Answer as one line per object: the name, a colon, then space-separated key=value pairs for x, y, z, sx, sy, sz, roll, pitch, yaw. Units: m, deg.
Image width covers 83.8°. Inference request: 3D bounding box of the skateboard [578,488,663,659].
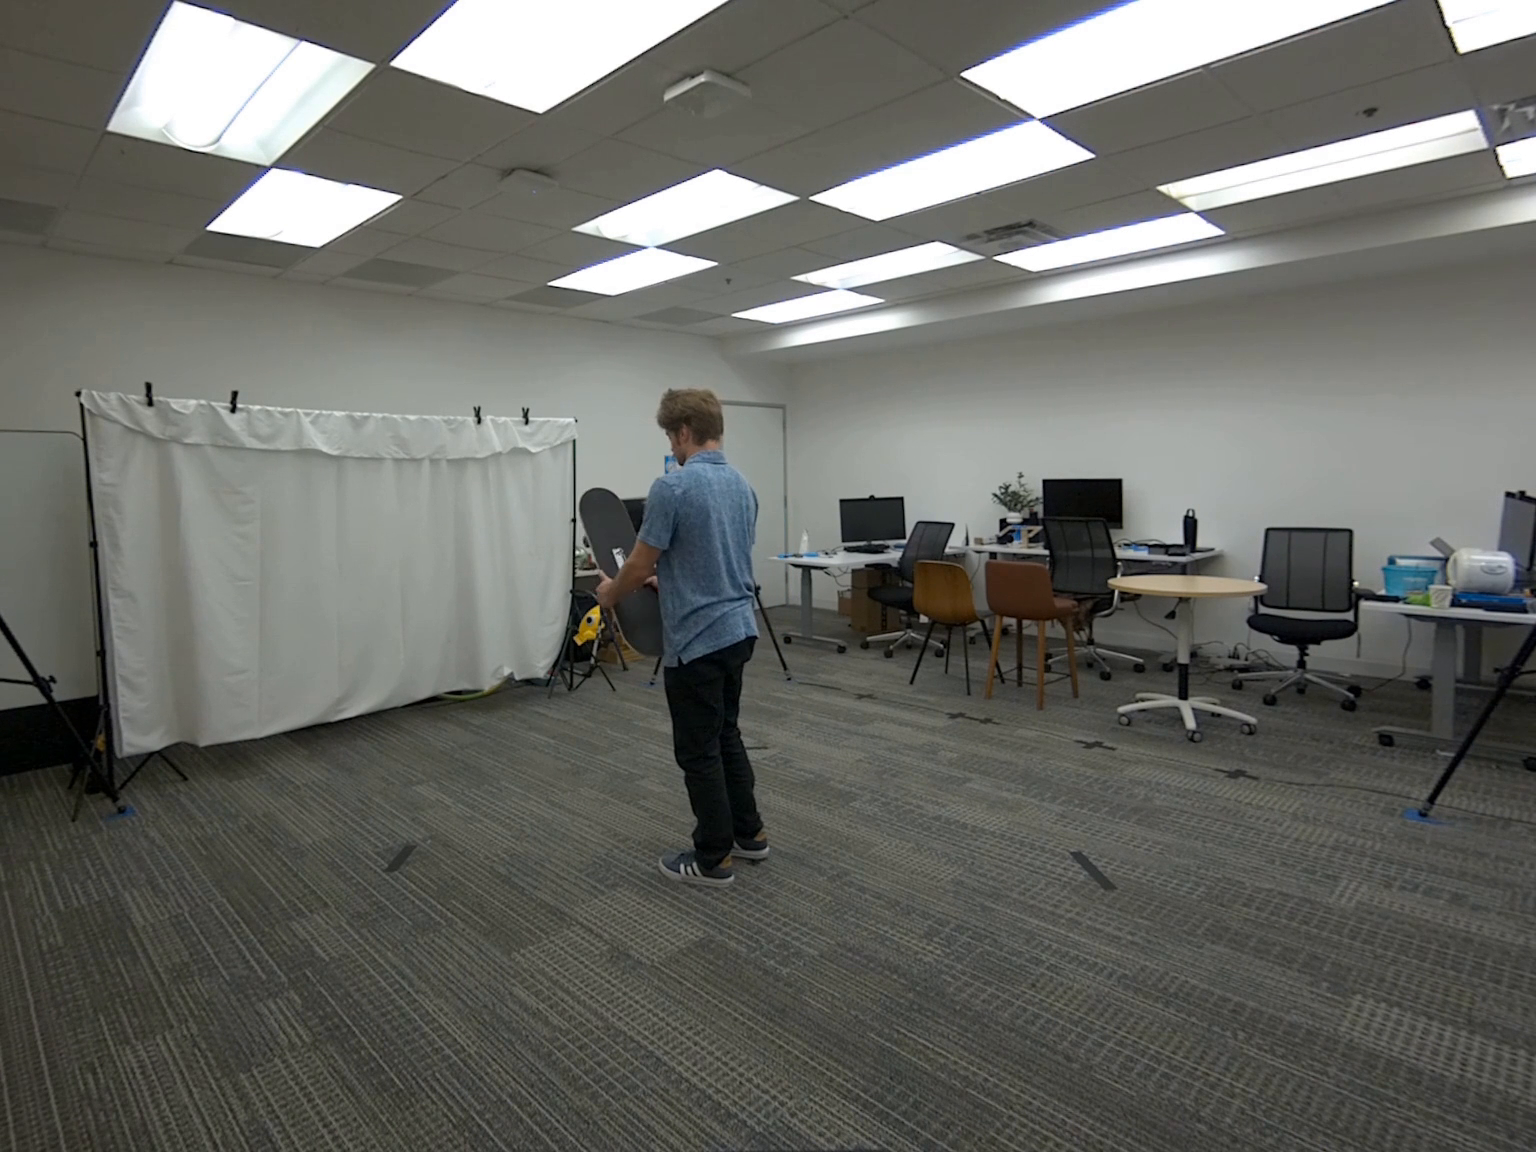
skateboard: x=-0.545 y=0.000 z=3.255 sx=0.189 sy=0.811 sz=0.109 roll=-8 pitch=-34 yaw=-28
